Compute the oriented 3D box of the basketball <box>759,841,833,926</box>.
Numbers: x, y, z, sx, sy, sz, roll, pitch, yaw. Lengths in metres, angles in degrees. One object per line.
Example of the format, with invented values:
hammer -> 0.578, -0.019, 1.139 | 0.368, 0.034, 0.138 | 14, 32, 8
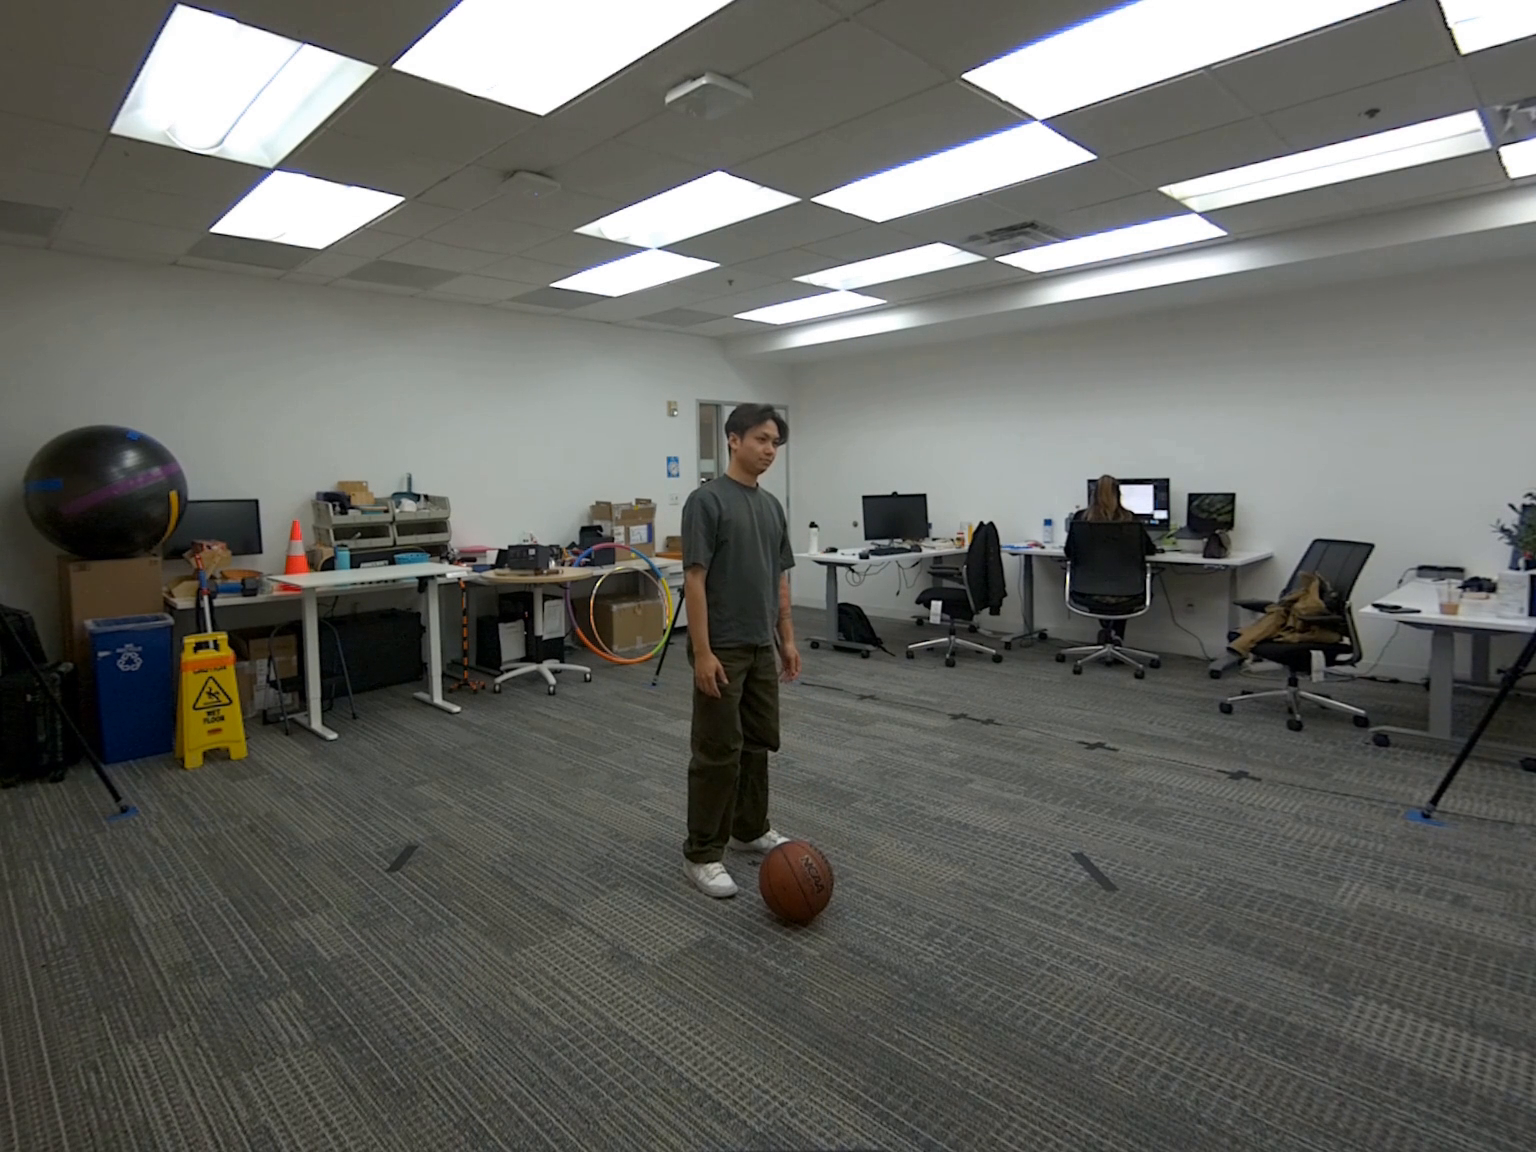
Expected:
basketball -> 0.094, 0.960, 2.719 | 0.236, 0.235, 0.237 | -1, 5, -2
